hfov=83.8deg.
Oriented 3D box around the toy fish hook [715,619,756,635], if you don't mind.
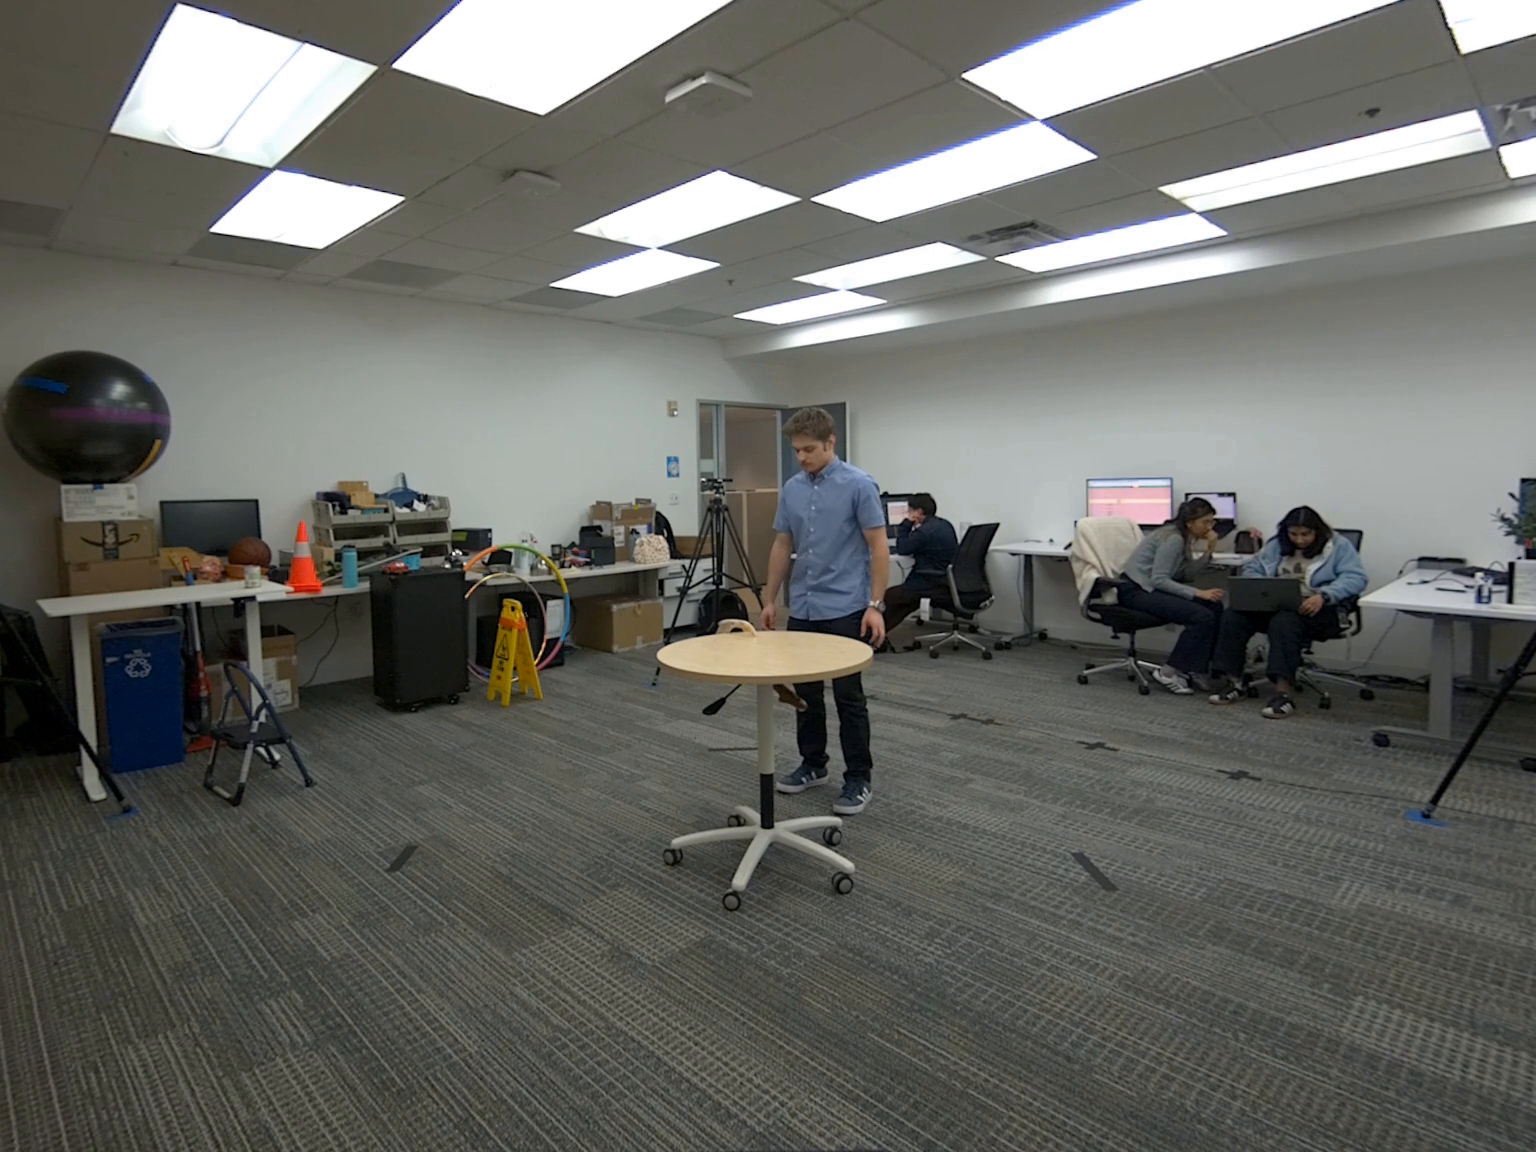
[{"bbox_3d":[-0.028,0.336,3.306,0.047,0.221,0.526,-11,31,-45],"label":"toy fish hook"}]
